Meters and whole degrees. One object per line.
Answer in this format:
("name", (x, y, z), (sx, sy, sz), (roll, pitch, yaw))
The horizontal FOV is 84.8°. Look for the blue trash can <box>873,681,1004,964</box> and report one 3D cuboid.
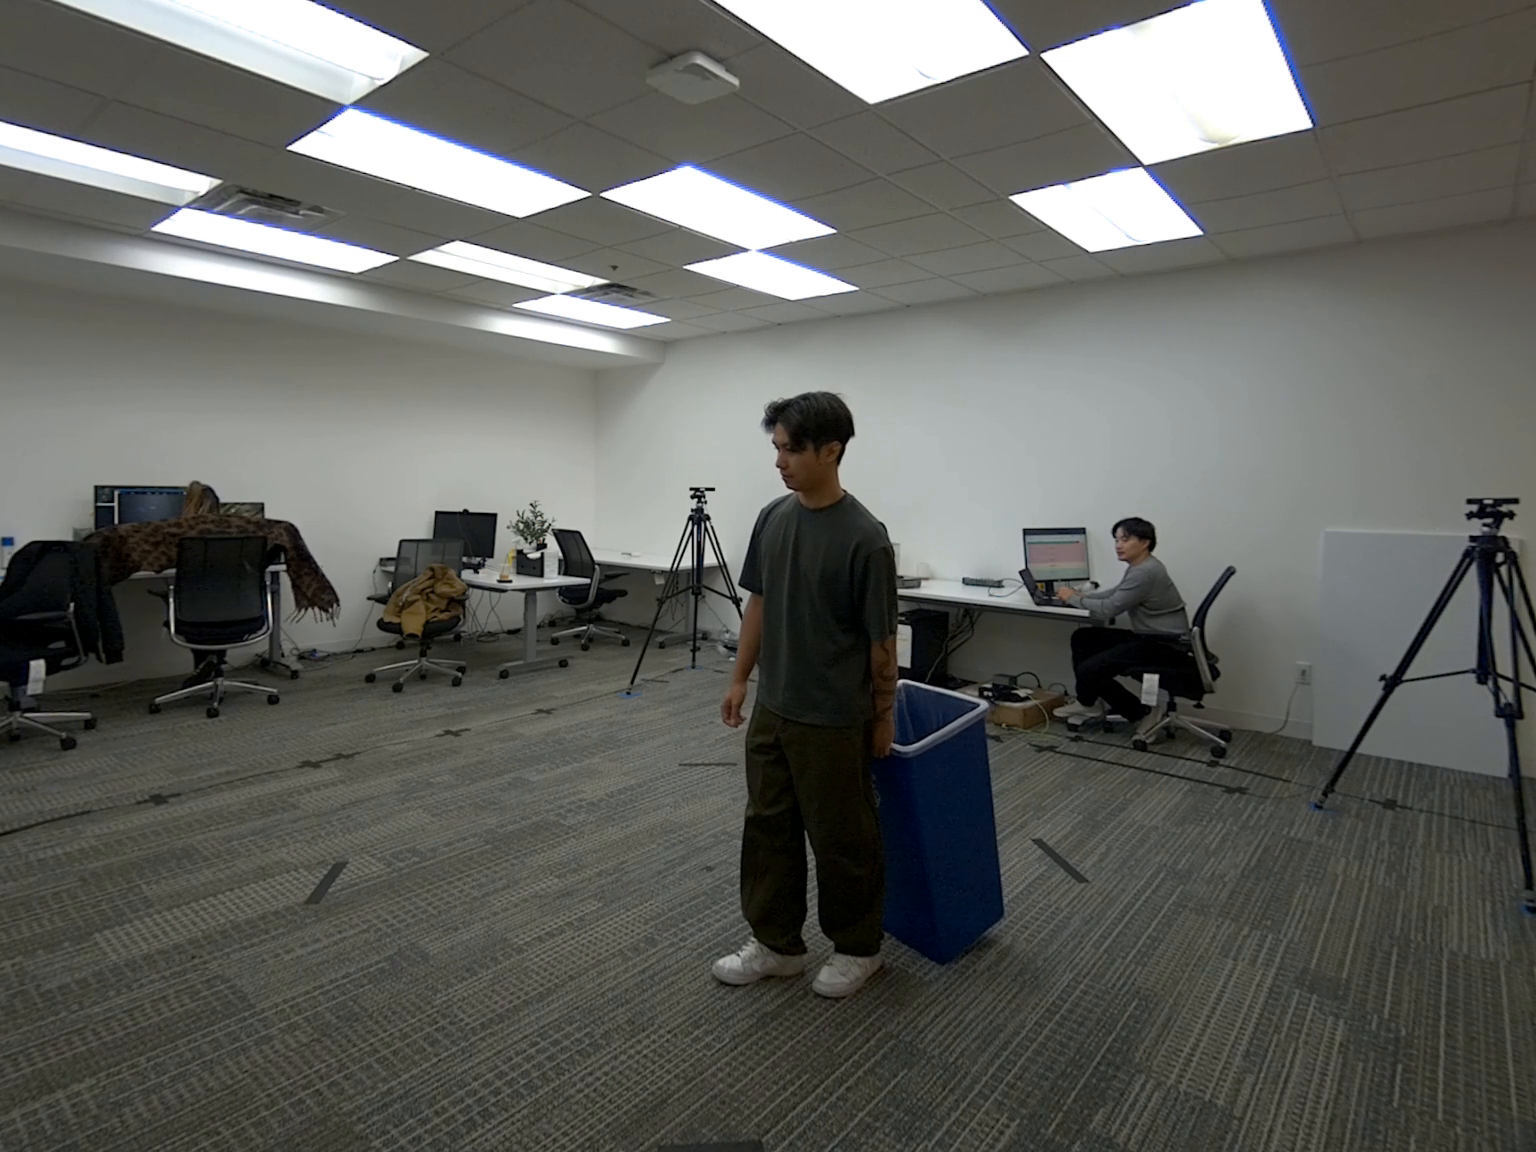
("blue trash can", (0.476, 0.745, 2.629), (0.371, 0.704, 0.386), (-19, 14, -33))
